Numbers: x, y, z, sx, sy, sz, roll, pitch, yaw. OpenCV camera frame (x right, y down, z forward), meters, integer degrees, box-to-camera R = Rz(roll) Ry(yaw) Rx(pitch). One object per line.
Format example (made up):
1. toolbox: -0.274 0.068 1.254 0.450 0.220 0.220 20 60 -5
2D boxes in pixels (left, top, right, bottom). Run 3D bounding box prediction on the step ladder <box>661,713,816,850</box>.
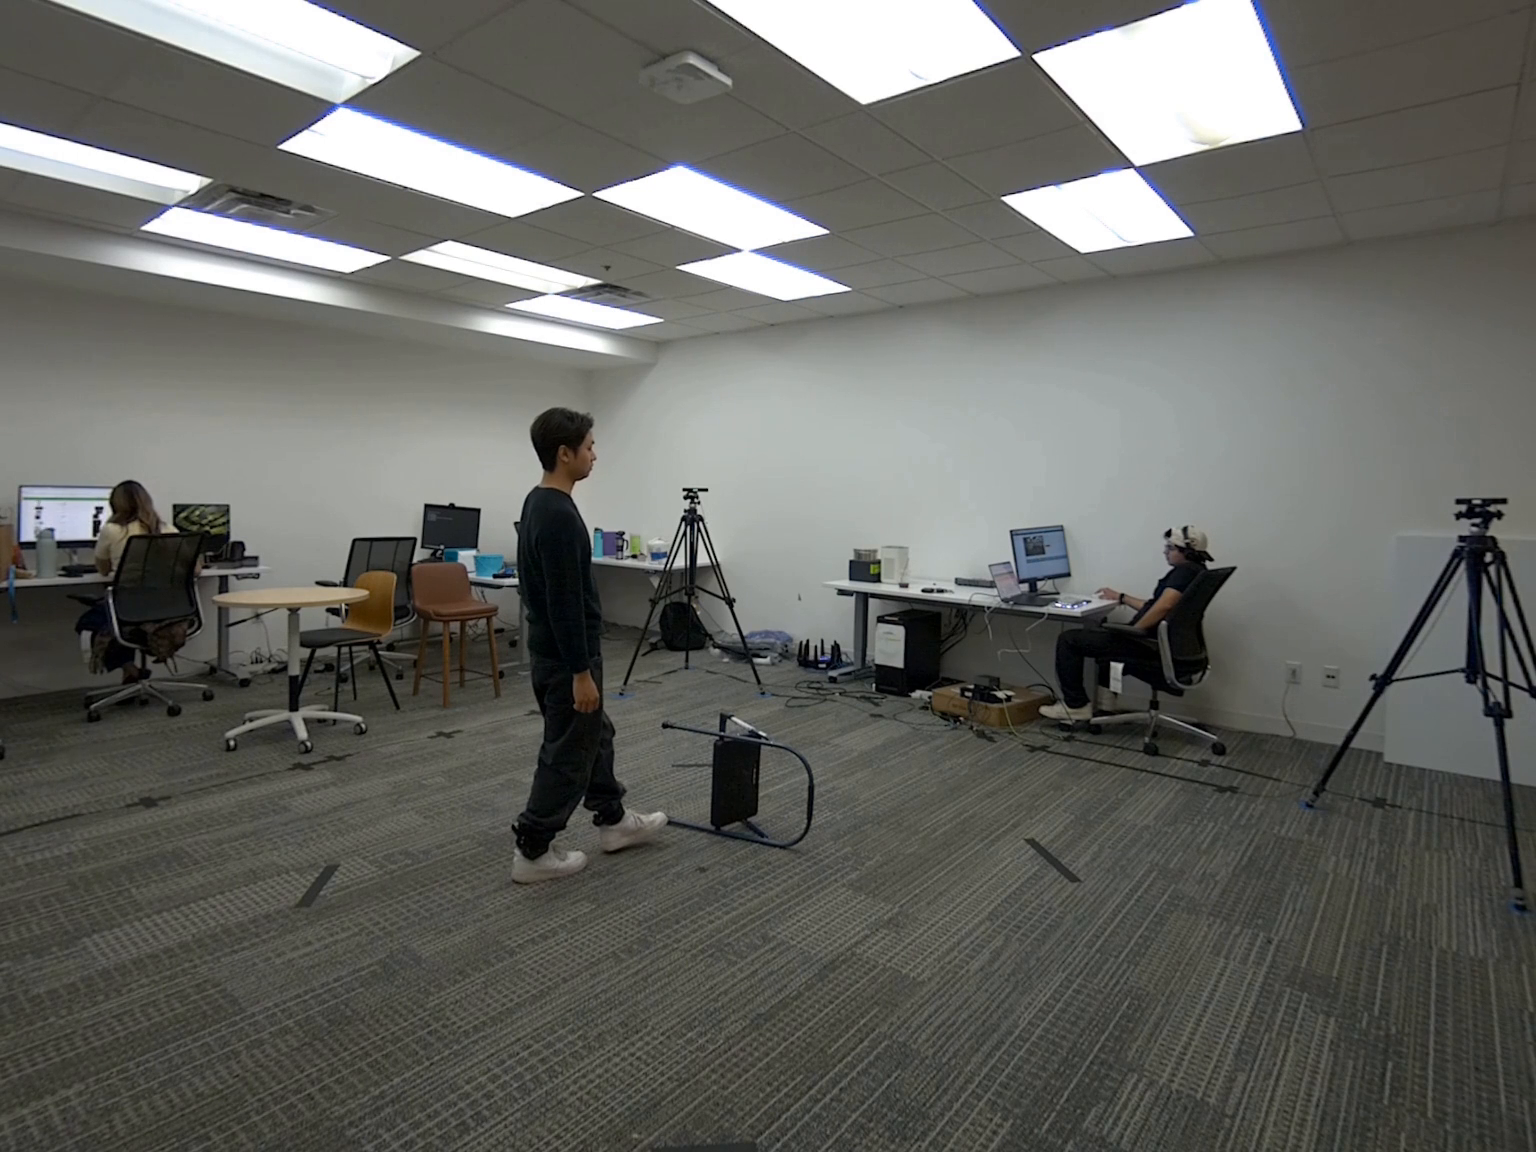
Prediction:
1. step ladder: -0.118 0.834 3.423 0.627 0.429 0.339 7 7 44
